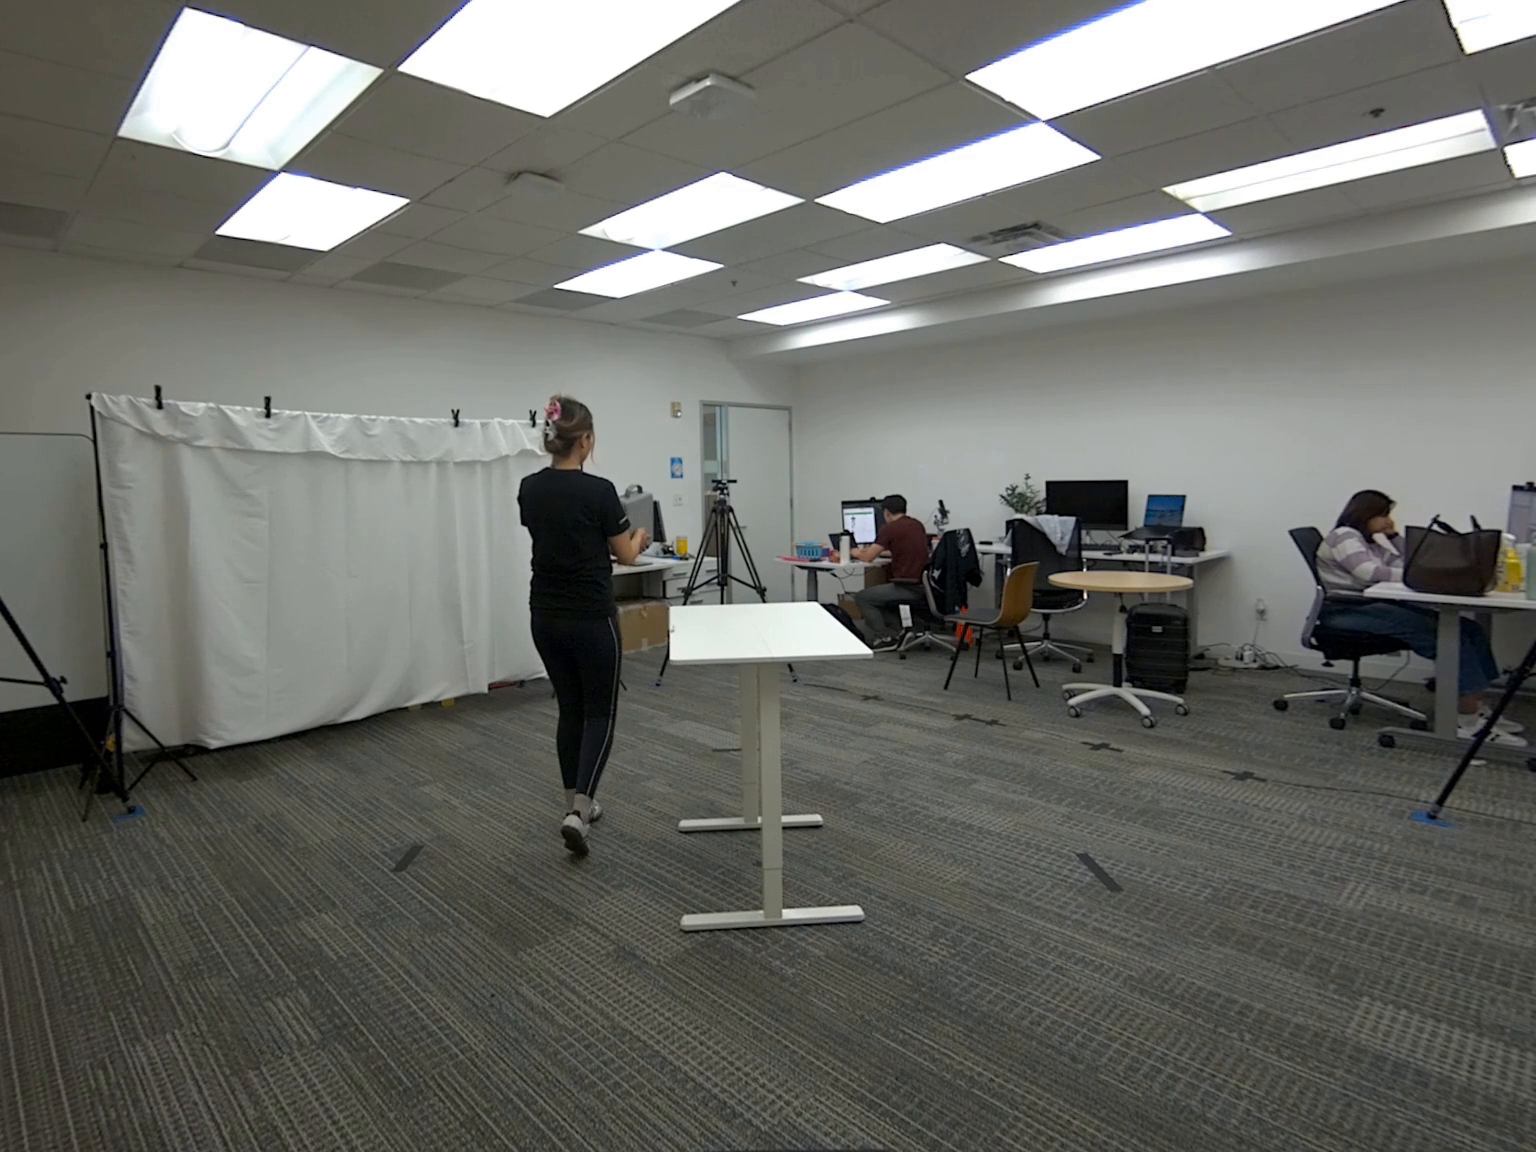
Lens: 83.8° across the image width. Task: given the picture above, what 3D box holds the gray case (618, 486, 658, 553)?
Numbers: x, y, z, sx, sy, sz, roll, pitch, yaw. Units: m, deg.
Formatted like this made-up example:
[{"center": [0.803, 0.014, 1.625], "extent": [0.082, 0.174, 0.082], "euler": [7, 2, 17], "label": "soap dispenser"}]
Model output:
[{"center": [-0.585, -0.231, 3.699], "extent": [0.106, 0.257, 0.255], "euler": [9, 19, 19], "label": "gray case"}]
